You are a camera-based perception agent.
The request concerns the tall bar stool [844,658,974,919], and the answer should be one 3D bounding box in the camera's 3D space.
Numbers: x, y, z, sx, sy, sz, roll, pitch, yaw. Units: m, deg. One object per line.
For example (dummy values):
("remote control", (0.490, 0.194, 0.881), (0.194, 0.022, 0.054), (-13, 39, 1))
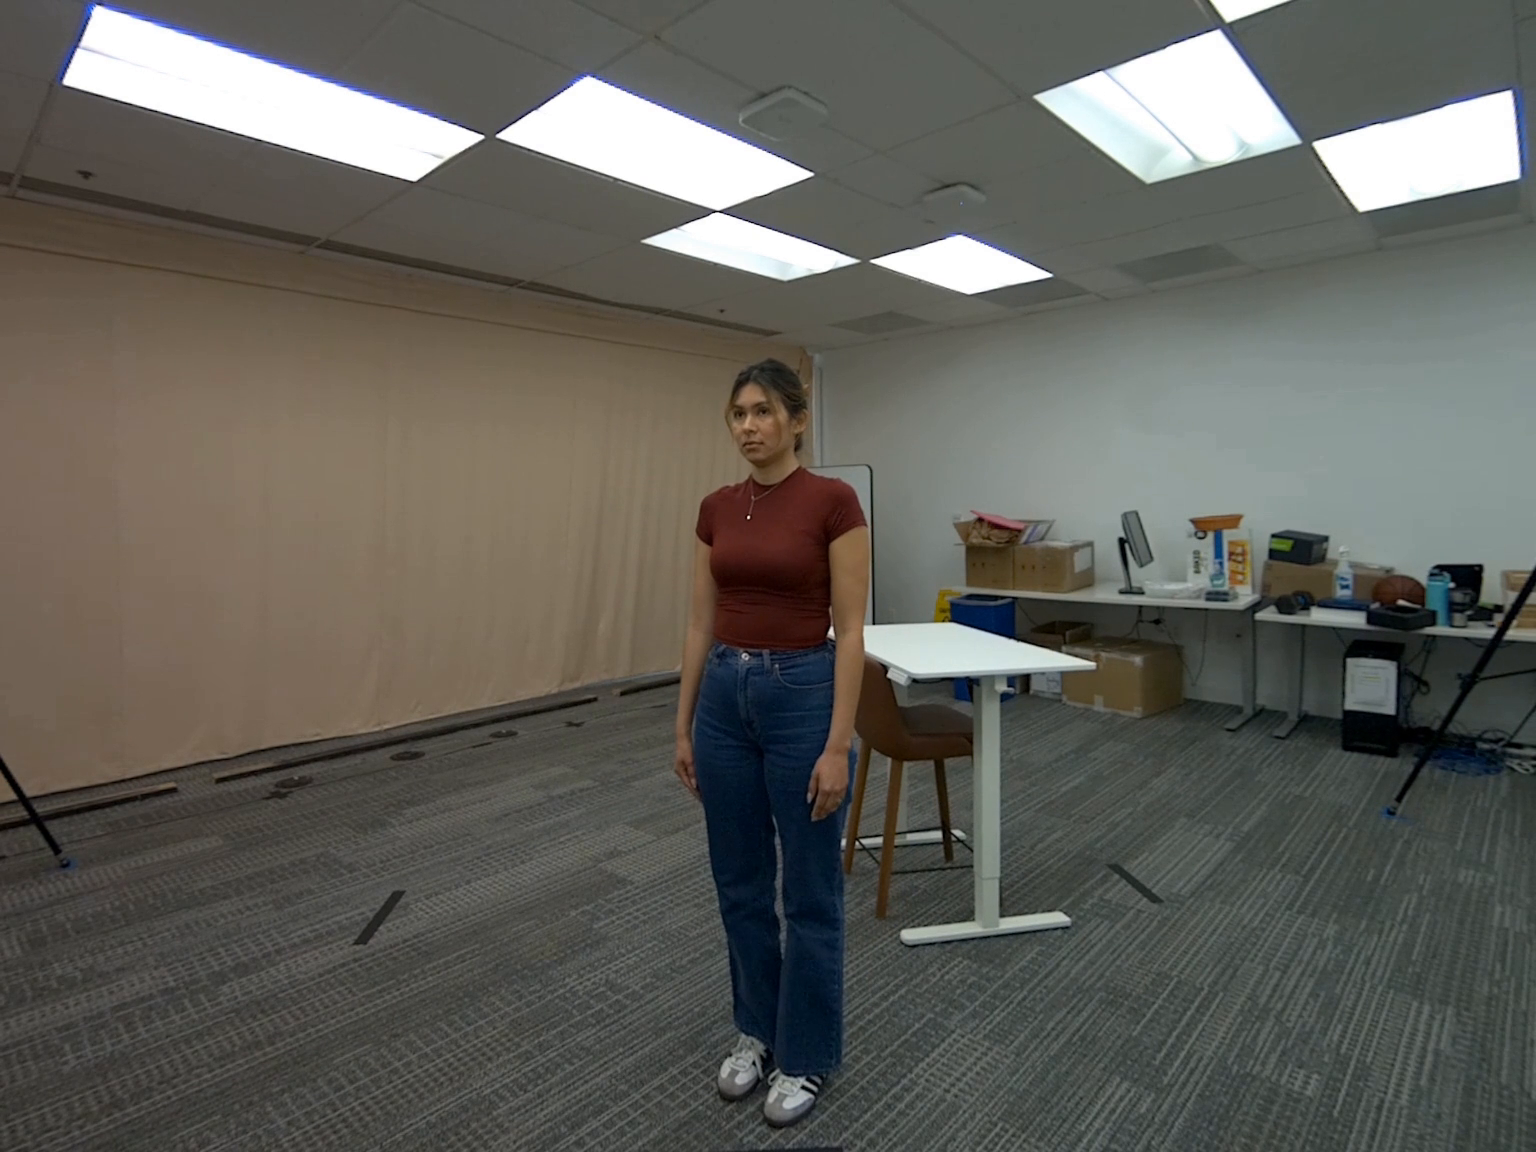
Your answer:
("tall bar stool", (0.532, 0.703, 3.005), (0.463, 0.887, 0.463), (-3, 5, -11))
